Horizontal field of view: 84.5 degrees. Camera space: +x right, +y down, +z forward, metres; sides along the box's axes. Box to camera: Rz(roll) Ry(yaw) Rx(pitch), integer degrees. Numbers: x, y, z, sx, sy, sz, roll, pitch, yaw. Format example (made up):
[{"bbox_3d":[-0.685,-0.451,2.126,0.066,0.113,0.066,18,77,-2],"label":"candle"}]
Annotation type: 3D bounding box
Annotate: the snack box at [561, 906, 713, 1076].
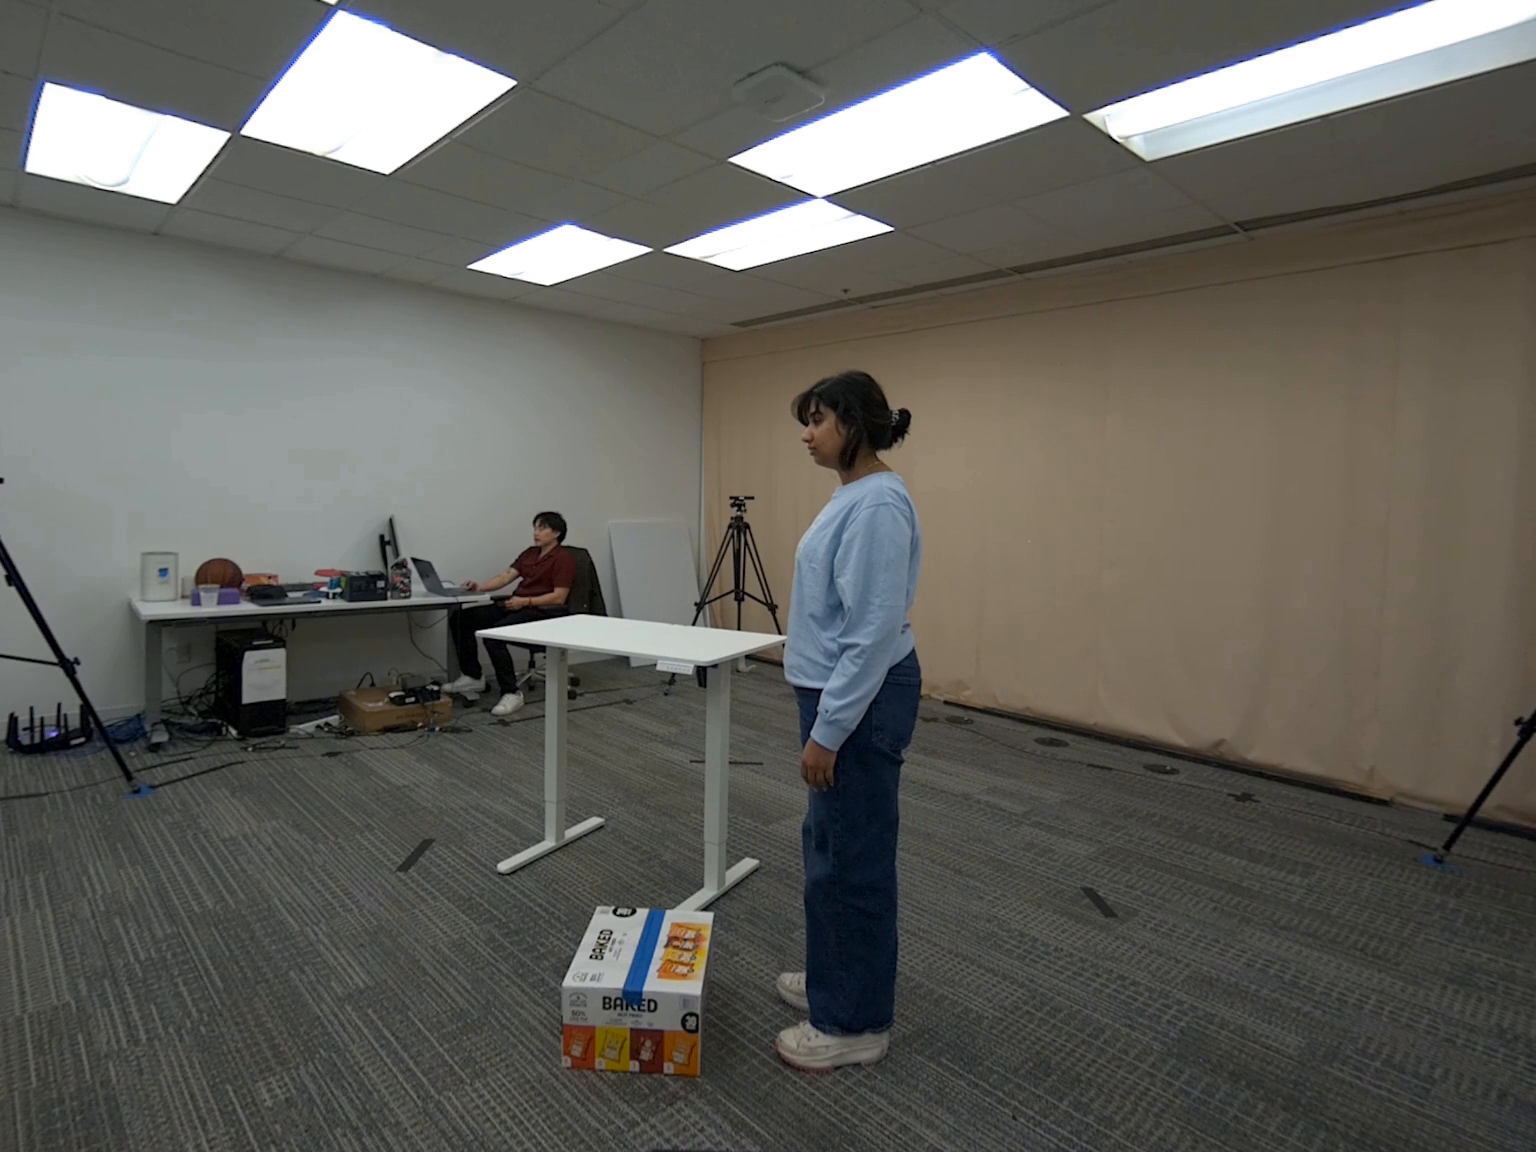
[{"bbox_3d":[-0.329,1.075,2.230,0.341,0.205,0.405,2,5,2],"label":"snack box"}]
